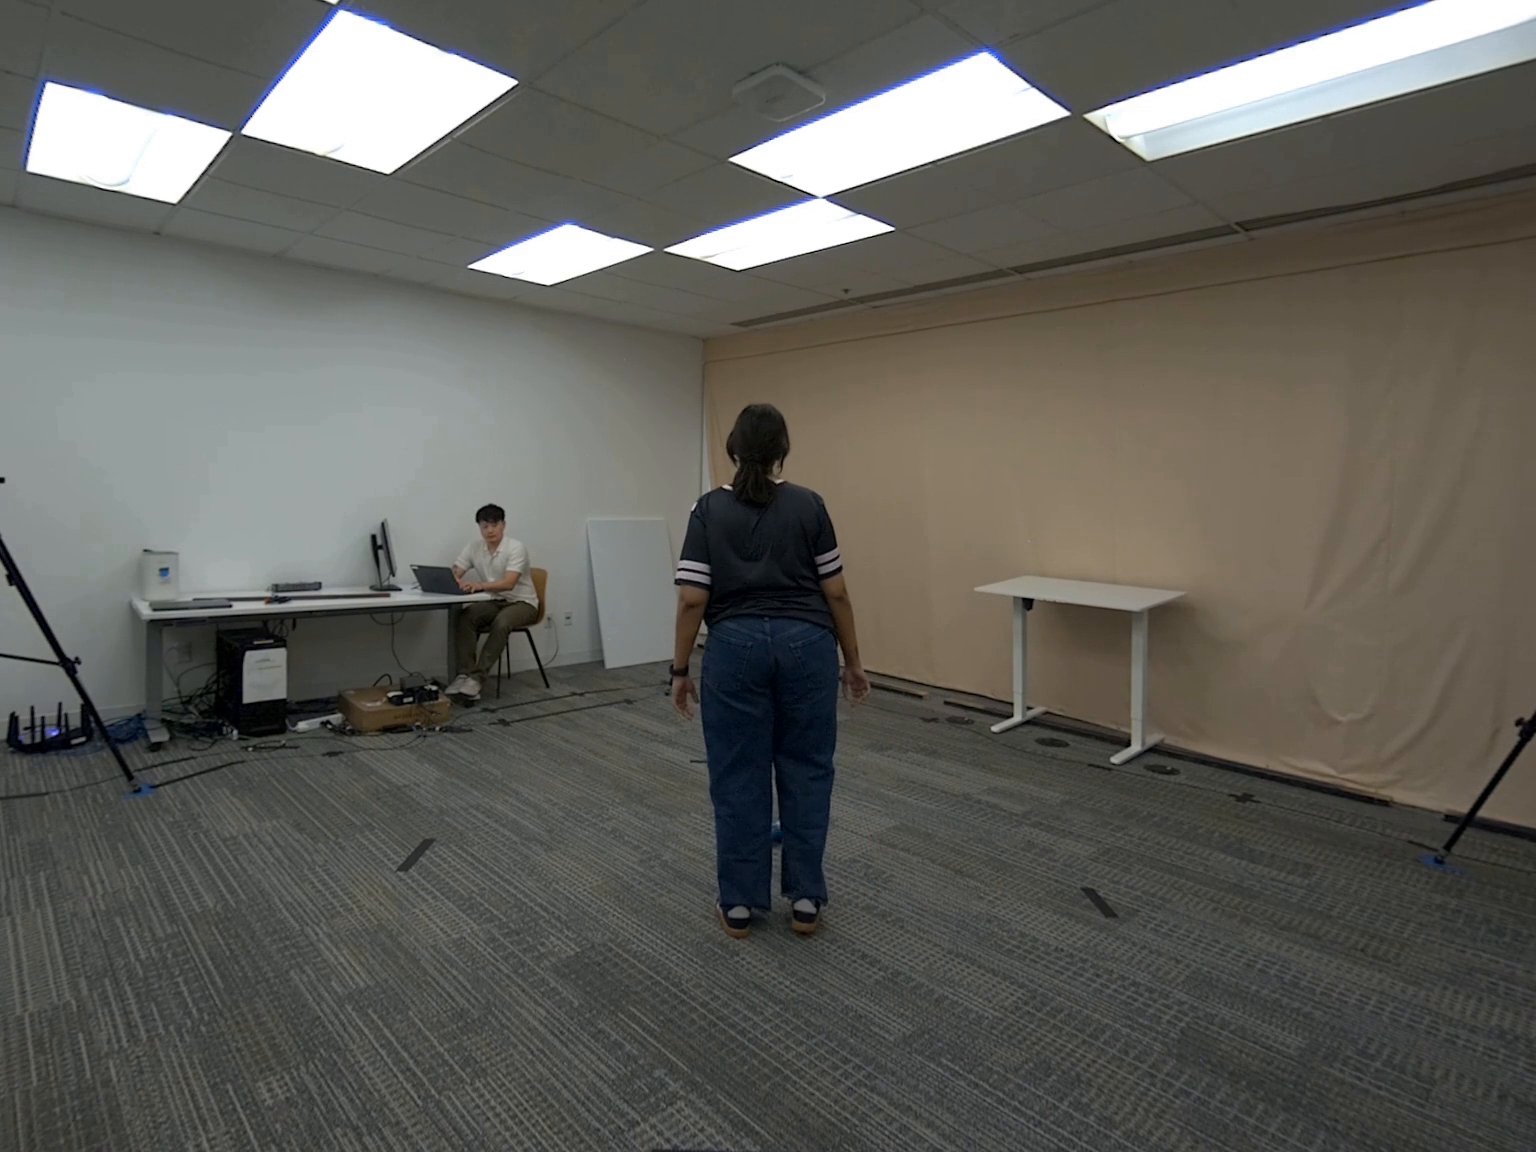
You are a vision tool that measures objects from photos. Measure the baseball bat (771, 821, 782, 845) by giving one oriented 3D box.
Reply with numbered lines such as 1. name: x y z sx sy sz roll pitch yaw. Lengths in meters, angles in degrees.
1. baseball bat: 0.024 1.051 3.401 0.091 0.089 0.531 5 8 42
